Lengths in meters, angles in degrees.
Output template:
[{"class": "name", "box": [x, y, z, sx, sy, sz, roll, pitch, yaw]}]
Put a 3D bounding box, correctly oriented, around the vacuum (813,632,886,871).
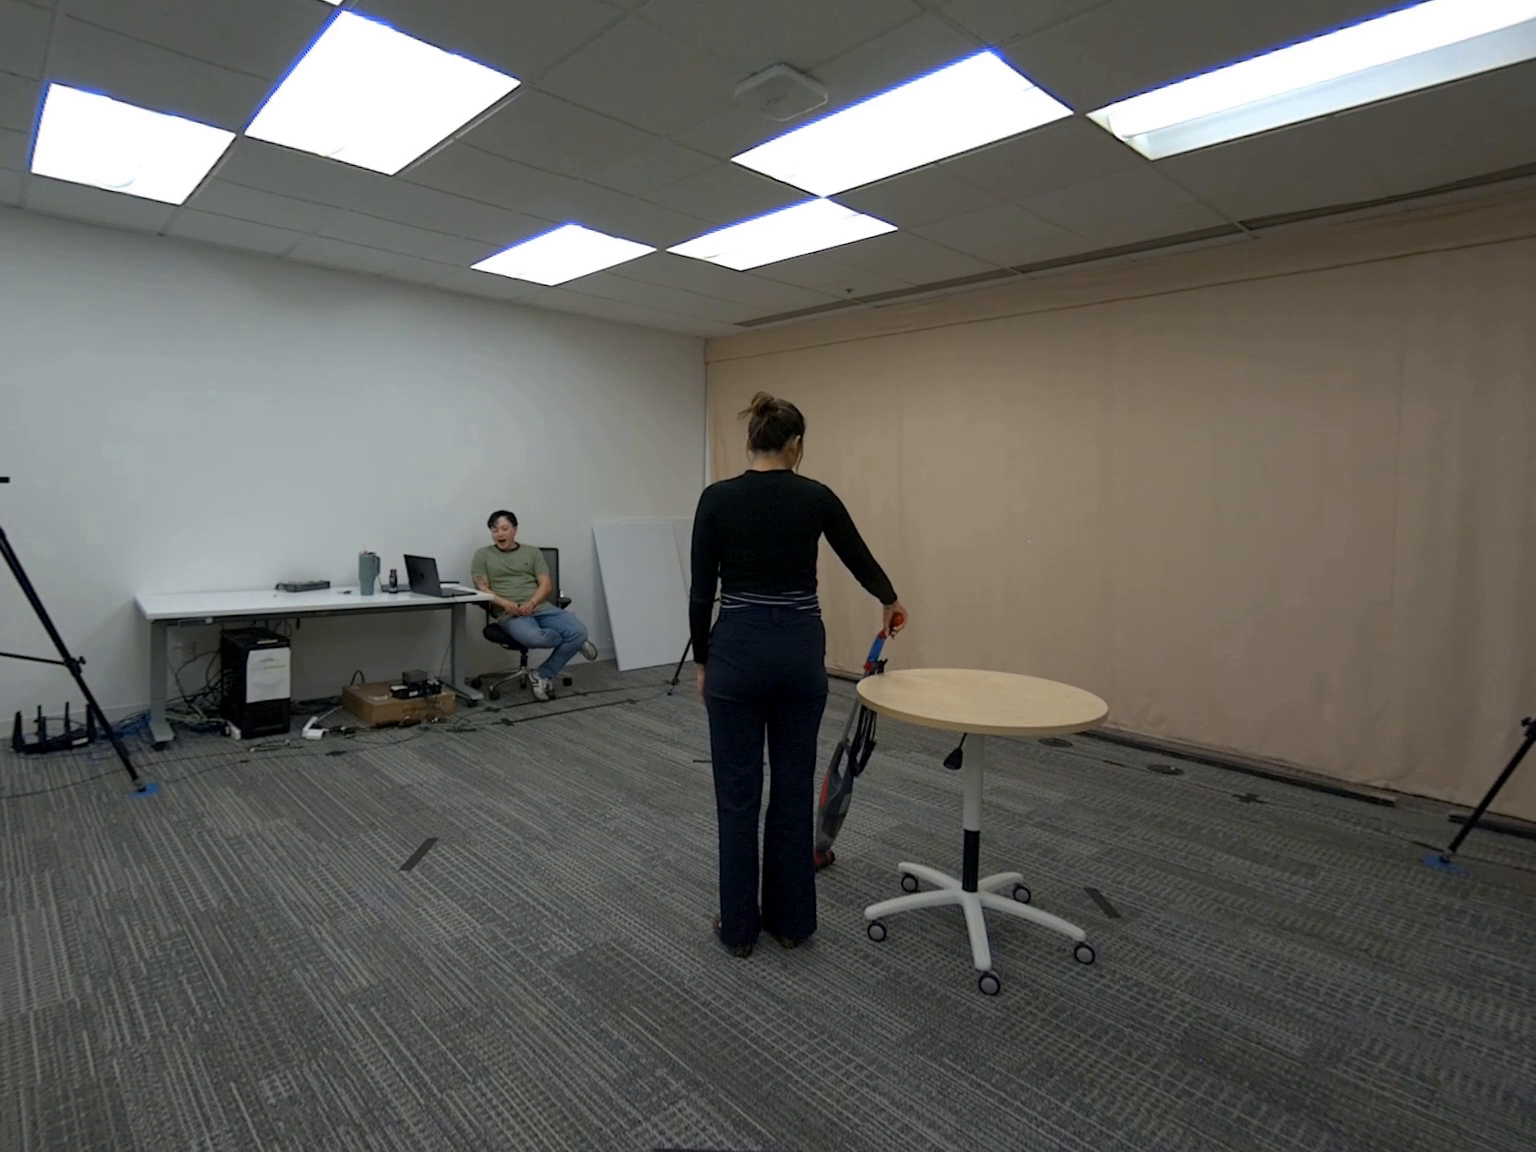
[{"class": "vacuum", "box": [0.302, 0.624, 3.060, 0.246, 1.040, 0.148, 1, 24, -42]}]
